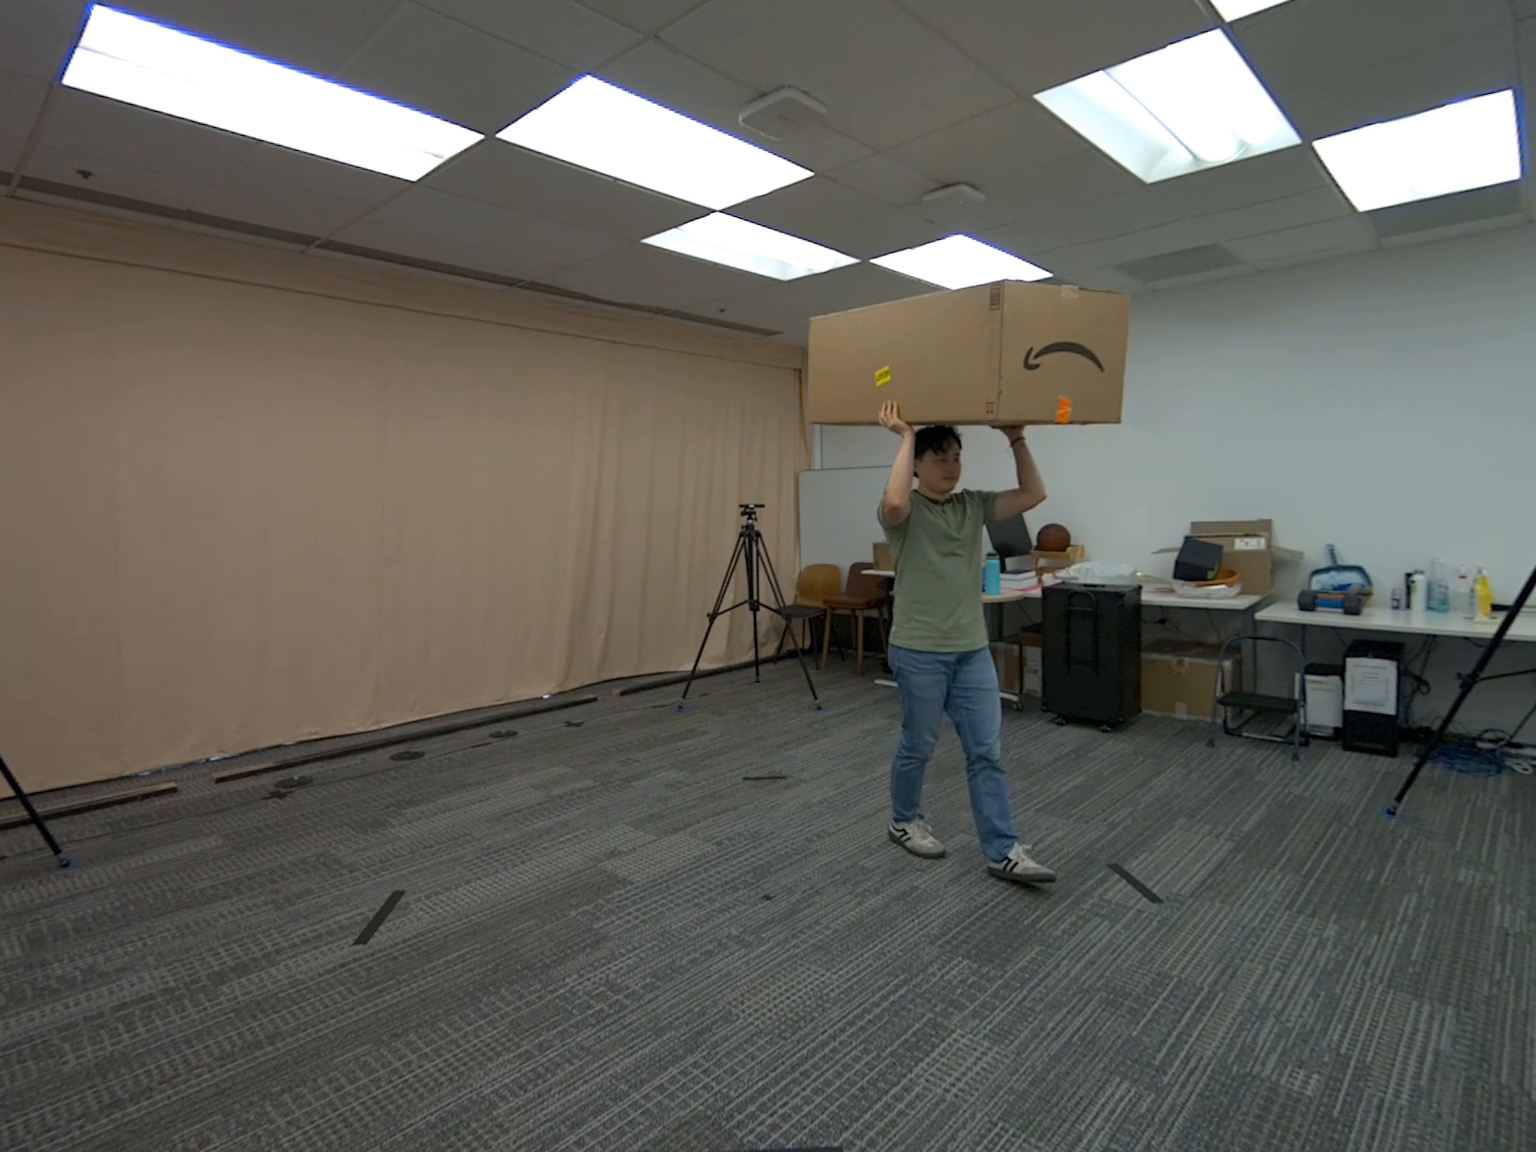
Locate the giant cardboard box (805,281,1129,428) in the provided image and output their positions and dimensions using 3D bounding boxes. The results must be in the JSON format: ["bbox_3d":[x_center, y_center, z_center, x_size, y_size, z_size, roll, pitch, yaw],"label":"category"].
[{"bbox_3d":[0.675,-0.770,3.102,0.563,0.424,1.058,-4,10,-30],"label":"giant cardboard box"}]
